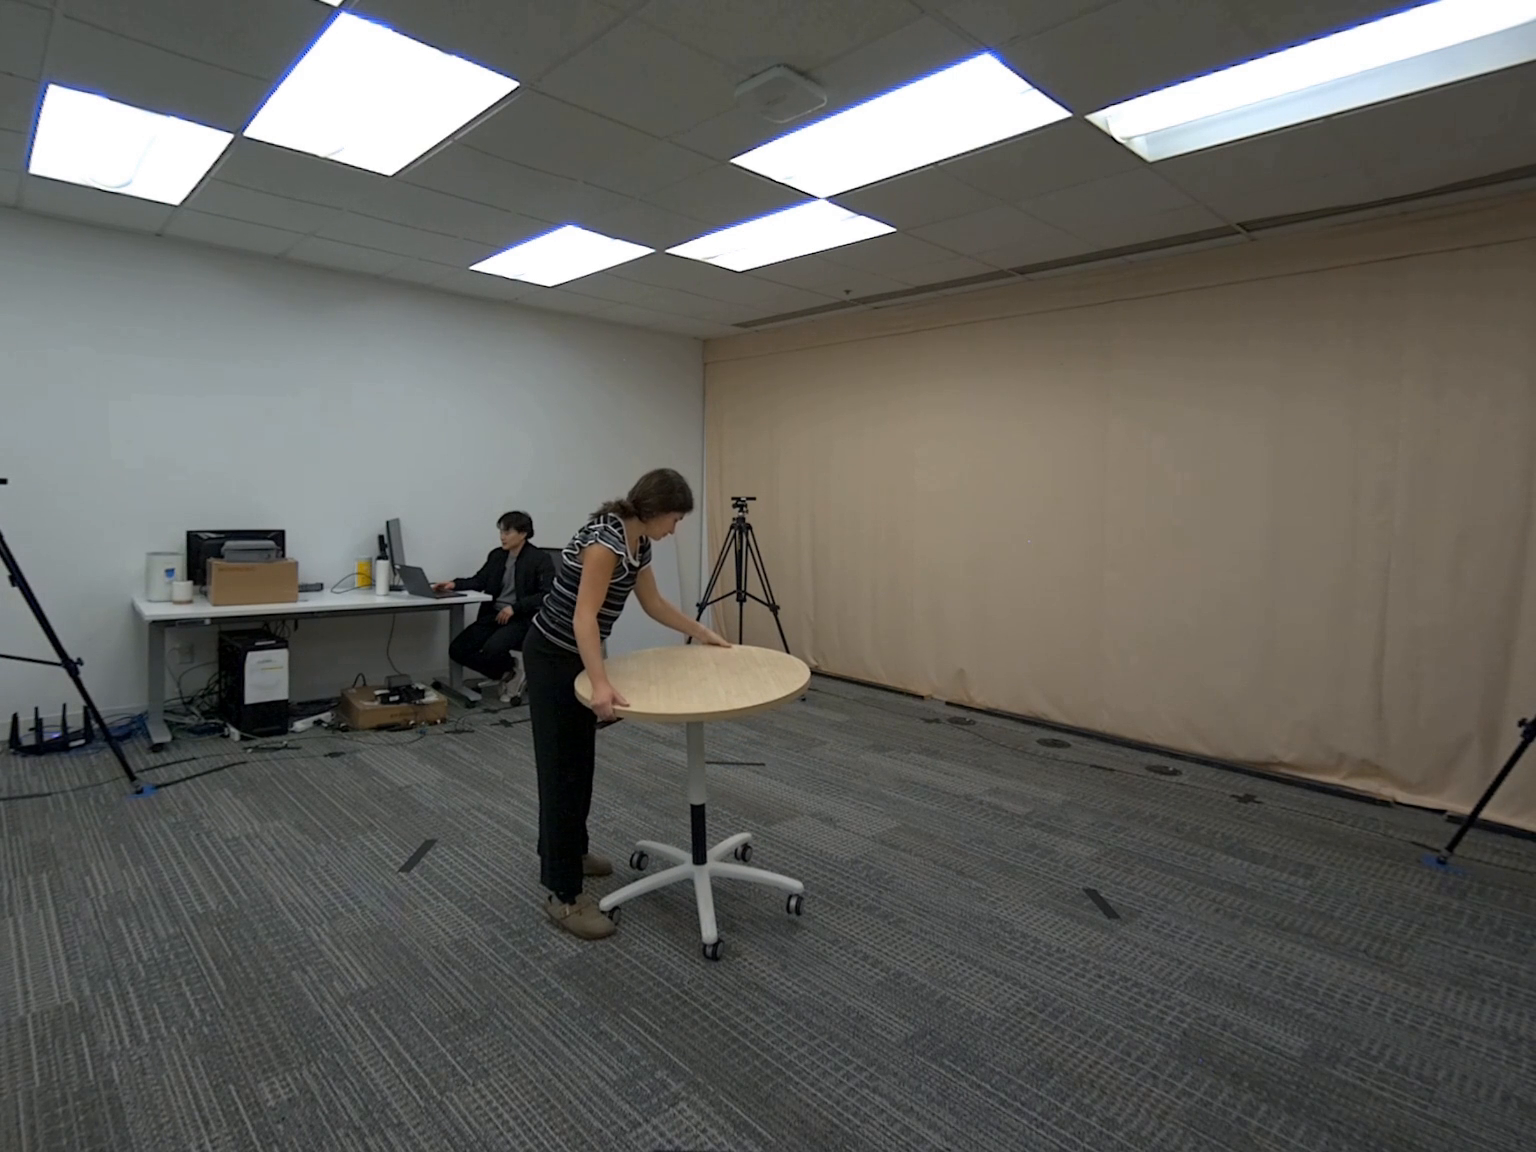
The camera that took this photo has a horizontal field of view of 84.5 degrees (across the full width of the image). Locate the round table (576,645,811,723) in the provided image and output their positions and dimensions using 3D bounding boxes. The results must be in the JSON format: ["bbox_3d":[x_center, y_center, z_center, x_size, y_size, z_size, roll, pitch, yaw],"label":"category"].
[{"bbox_3d":[-0.243,0.707,2.817,0.785,0.781,0.790,-1,9,-1],"label":"round table"}]
